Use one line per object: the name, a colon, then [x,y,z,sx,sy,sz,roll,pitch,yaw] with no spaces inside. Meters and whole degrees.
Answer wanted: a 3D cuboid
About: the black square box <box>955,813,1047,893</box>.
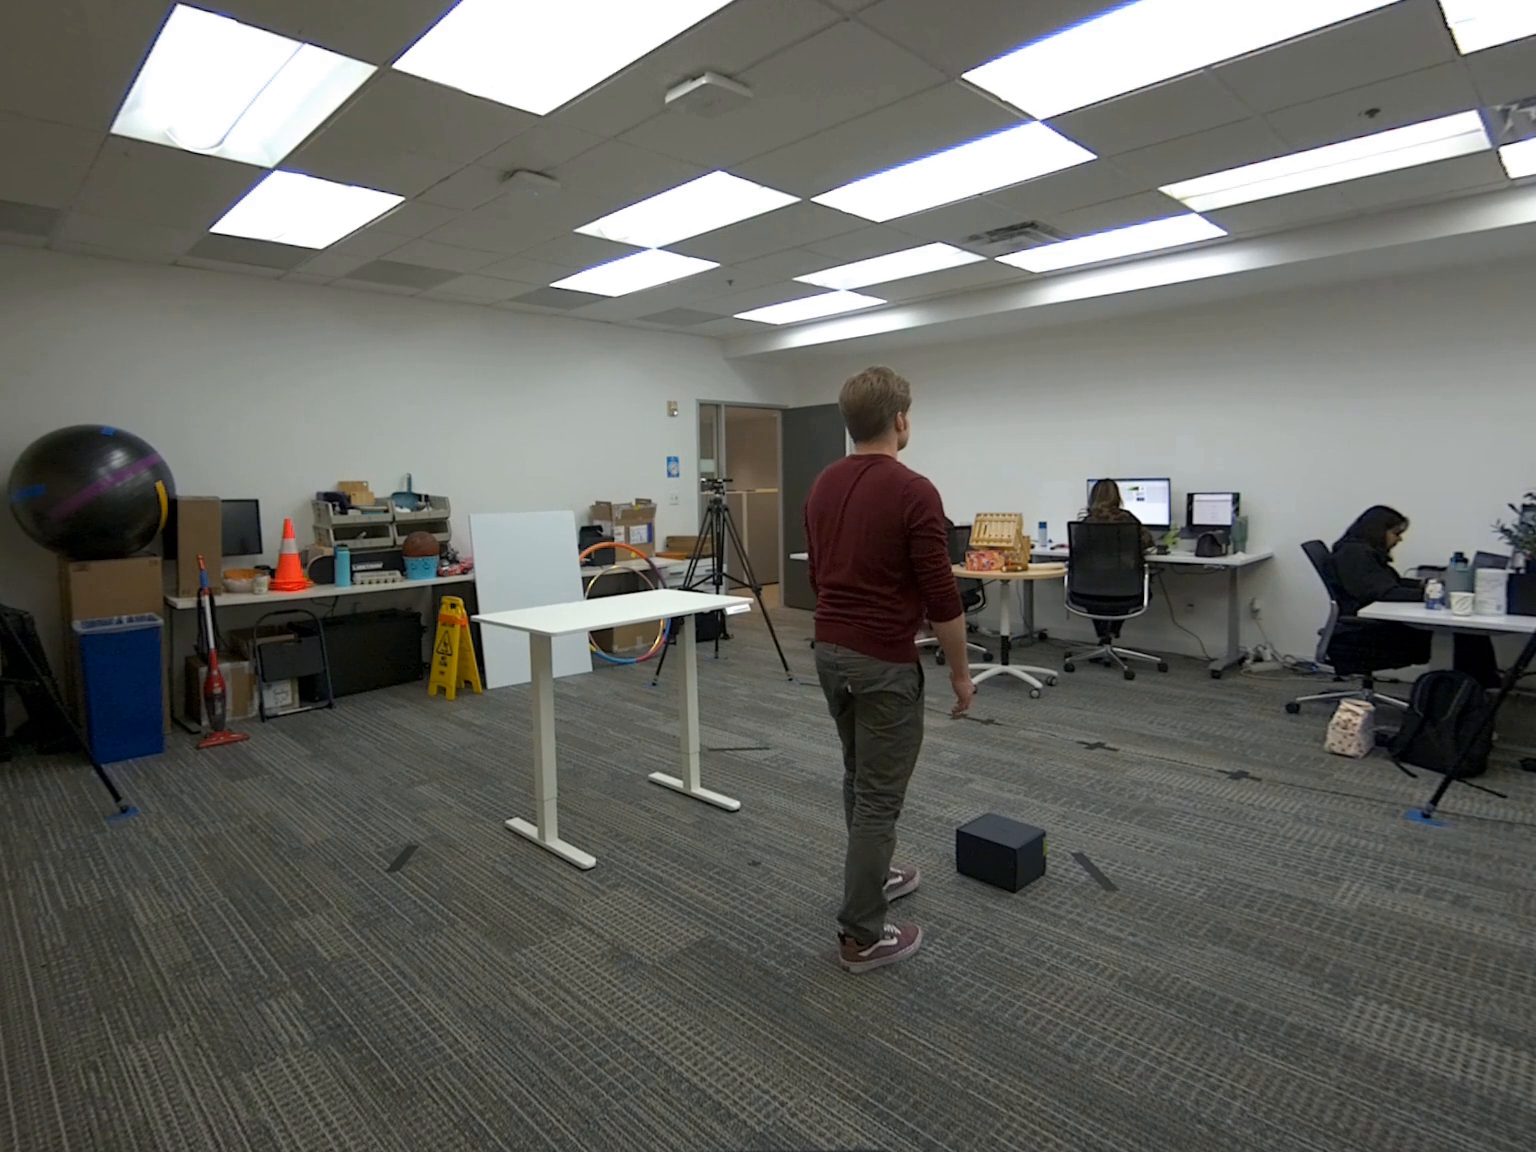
black square box: [0.821,0.961,2.991,0.211,0.155,0.235,-6,7,-44]
